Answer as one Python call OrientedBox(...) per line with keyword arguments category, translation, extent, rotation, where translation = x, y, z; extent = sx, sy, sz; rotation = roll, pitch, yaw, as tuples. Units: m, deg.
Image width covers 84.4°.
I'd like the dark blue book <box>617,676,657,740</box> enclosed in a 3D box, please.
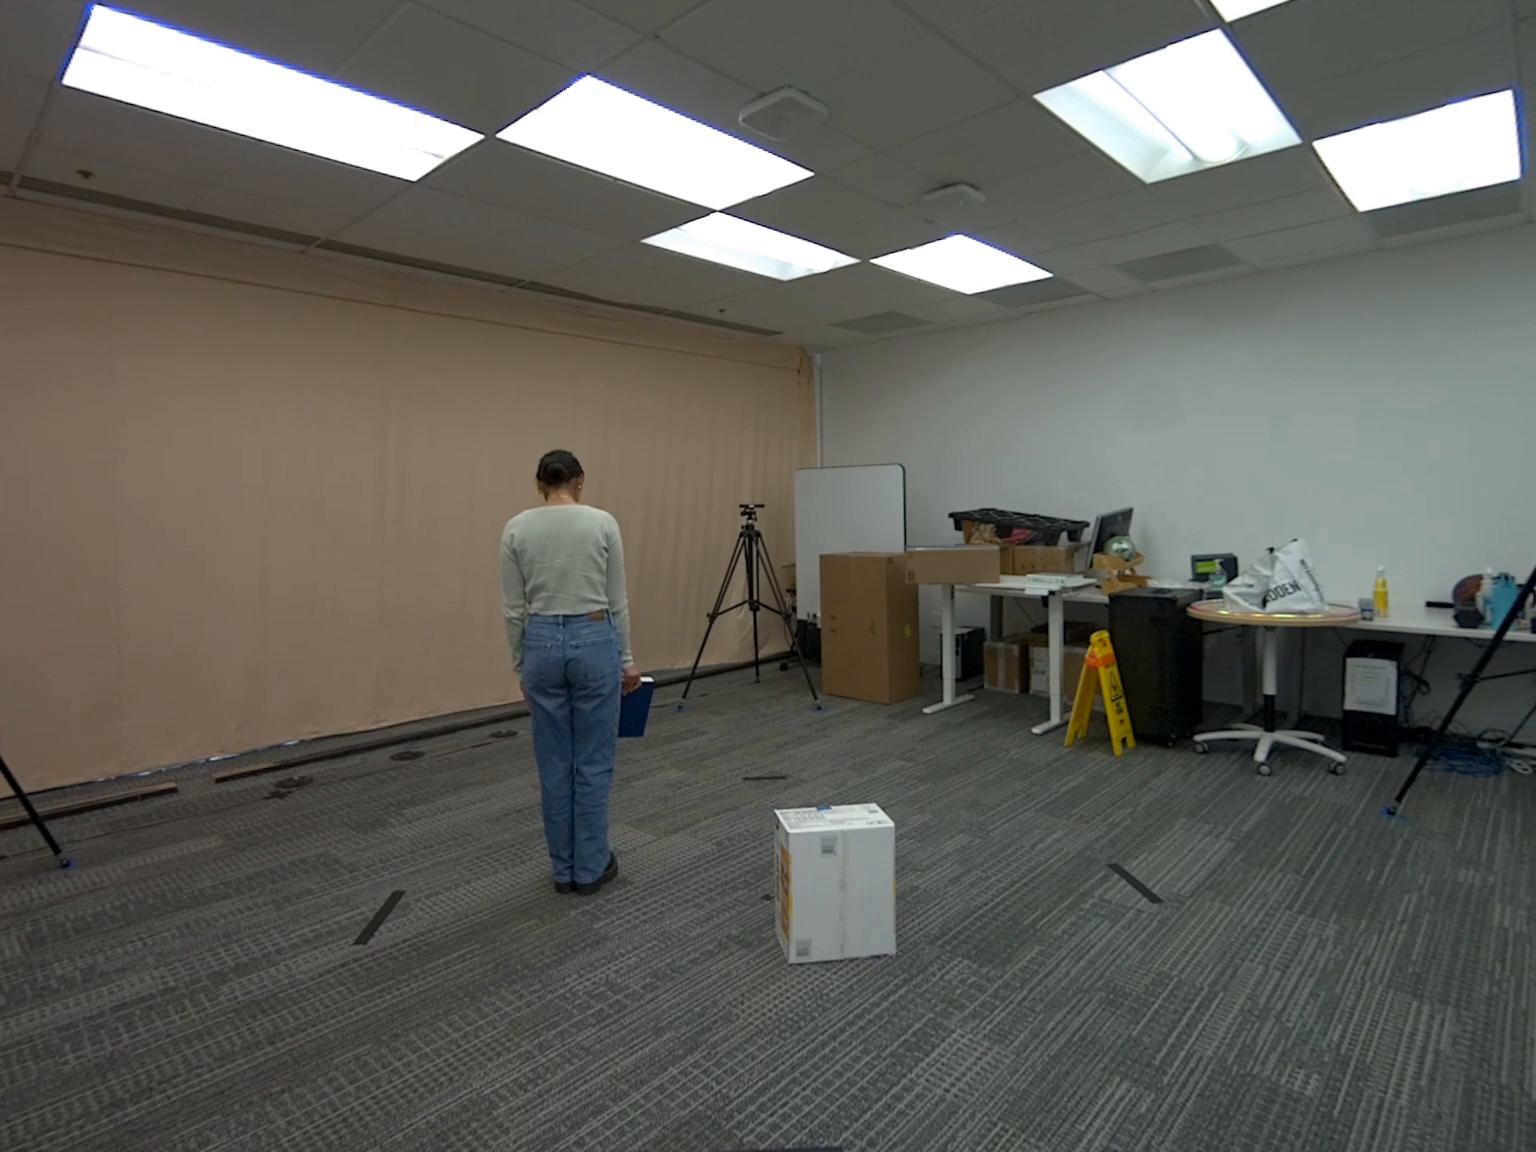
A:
OrientedBox(category="dark blue book", translation=(-0.541, 0.506, 3.271), extent=(0.159, 0.244, 0.047), rotation=(6, 16, -29))
